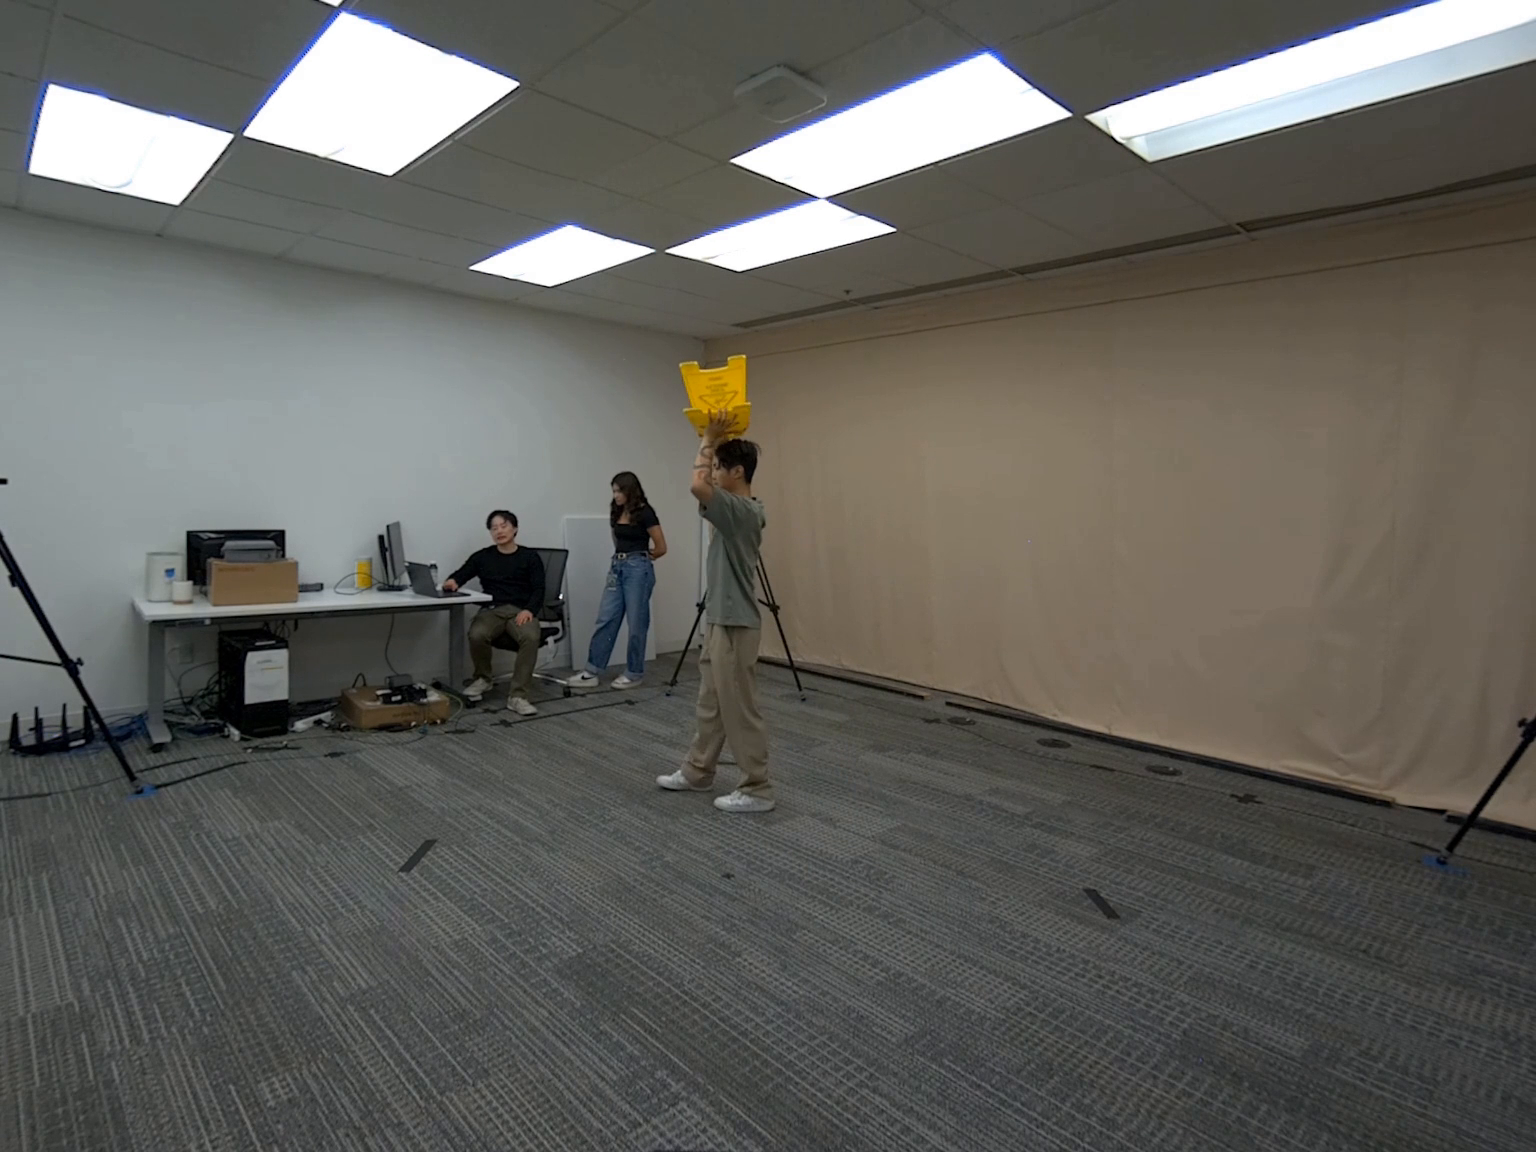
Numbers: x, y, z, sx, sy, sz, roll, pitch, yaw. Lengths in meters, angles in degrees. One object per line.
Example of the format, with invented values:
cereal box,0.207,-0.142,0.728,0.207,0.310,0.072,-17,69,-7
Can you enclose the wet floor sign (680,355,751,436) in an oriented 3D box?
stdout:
wet floor sign,-0.220,-0.734,3.781,0.282,0.292,0.642,-8,-8,-4
